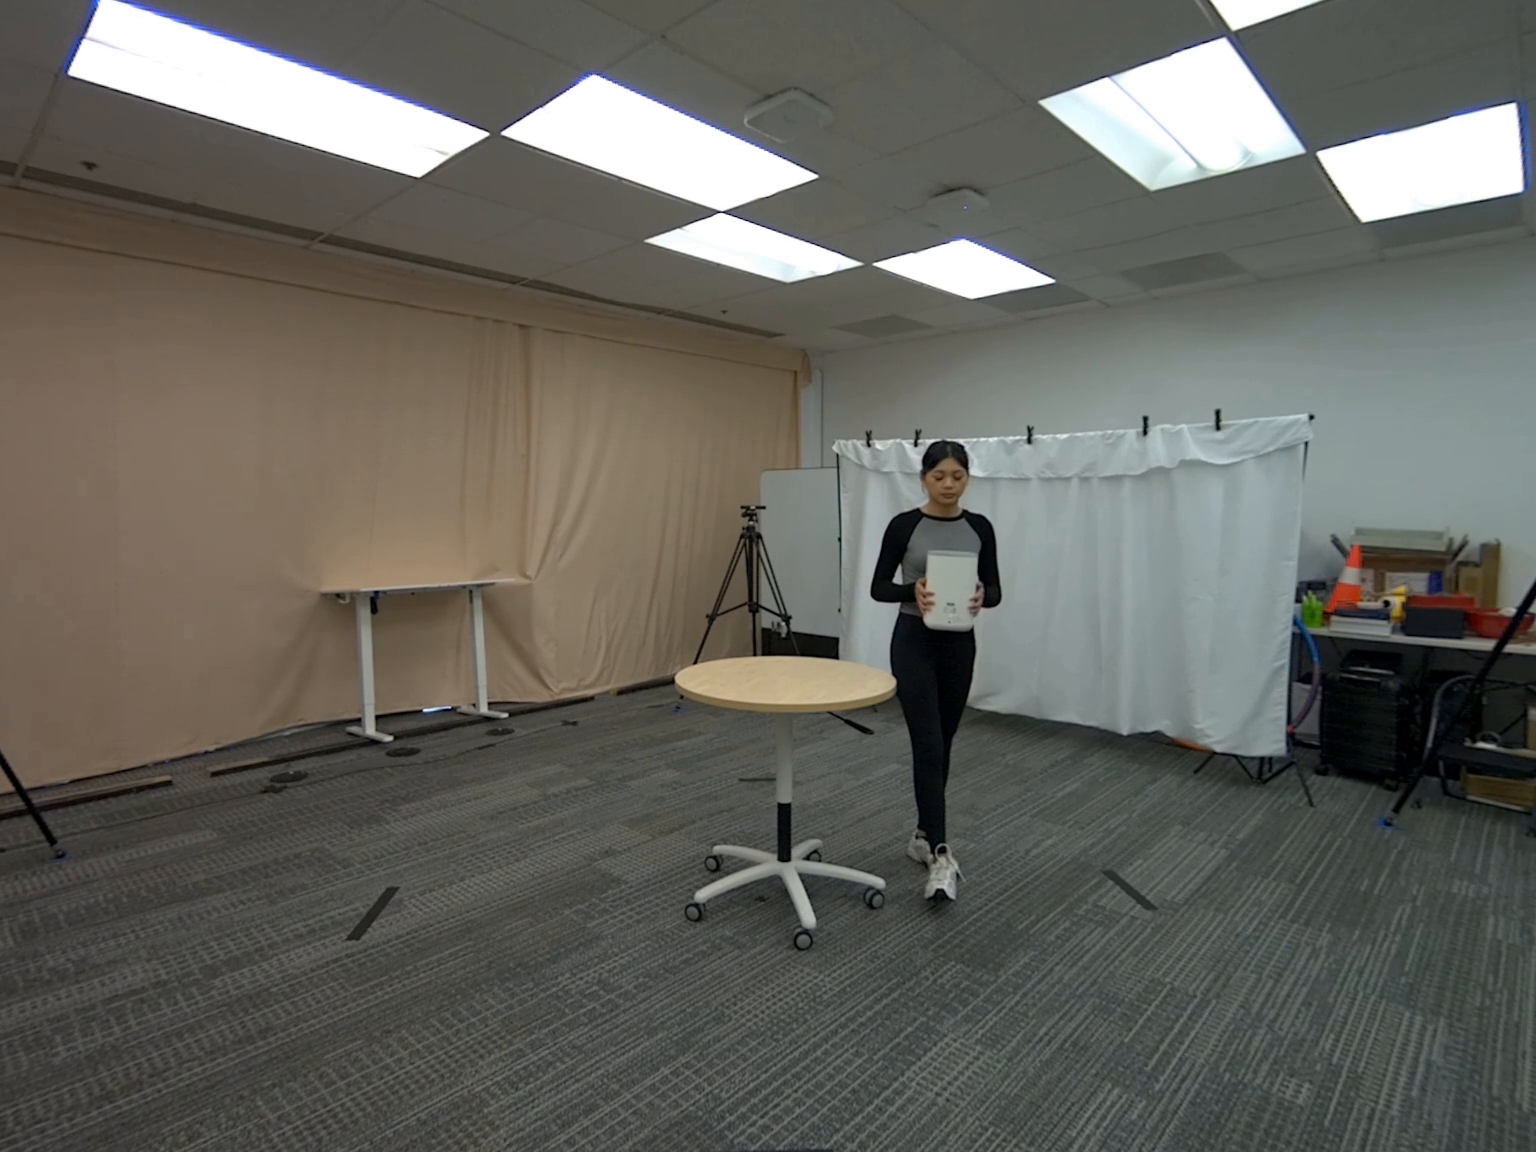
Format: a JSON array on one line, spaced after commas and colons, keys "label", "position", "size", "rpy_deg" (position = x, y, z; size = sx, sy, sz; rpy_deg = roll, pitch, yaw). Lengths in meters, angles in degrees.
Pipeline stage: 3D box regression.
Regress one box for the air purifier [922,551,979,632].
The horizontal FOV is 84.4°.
[{"label": "air purifier", "position": [0.642, 0.050, 2.956], "size": [0.173, 0.264, 0.170], "rpy_deg": [4, 5, 11]}]
